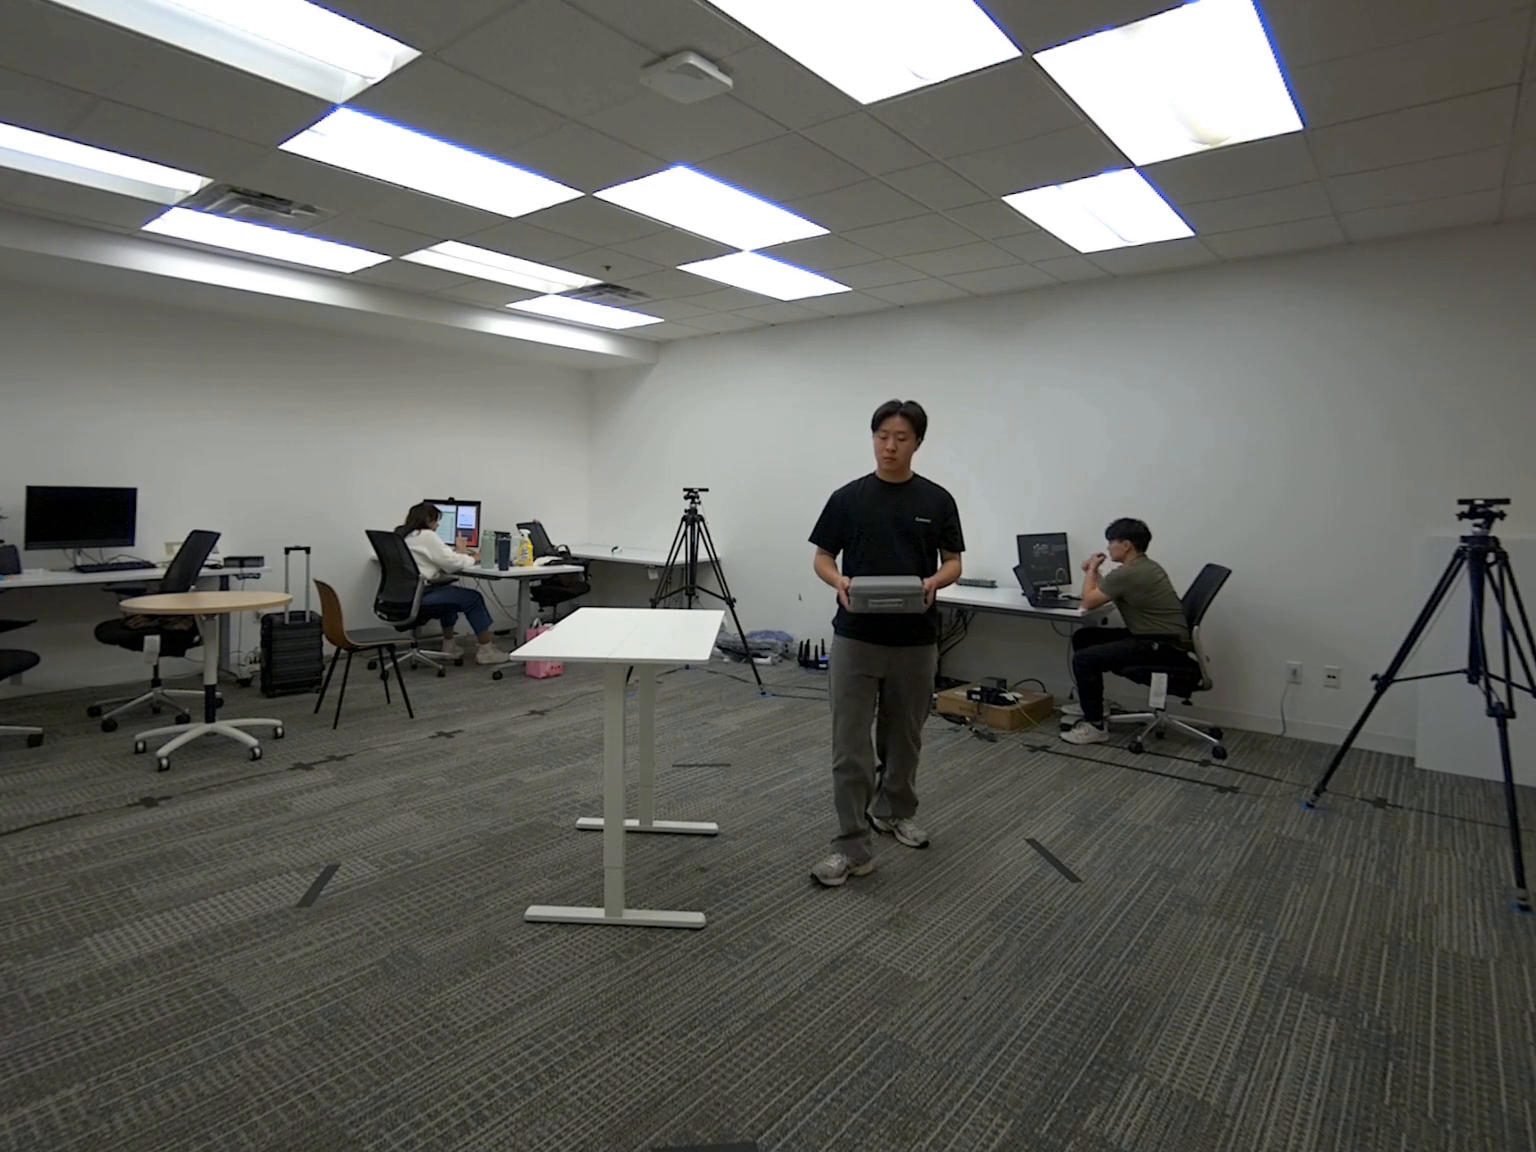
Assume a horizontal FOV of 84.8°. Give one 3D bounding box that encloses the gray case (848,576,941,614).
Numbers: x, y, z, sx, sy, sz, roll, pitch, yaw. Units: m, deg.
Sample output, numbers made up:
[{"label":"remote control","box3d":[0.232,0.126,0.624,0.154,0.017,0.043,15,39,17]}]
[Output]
[{"label":"gray case","box3d":[0.436,0.054,2.976,0.294,0.102,0.258,1,8,25]}]
